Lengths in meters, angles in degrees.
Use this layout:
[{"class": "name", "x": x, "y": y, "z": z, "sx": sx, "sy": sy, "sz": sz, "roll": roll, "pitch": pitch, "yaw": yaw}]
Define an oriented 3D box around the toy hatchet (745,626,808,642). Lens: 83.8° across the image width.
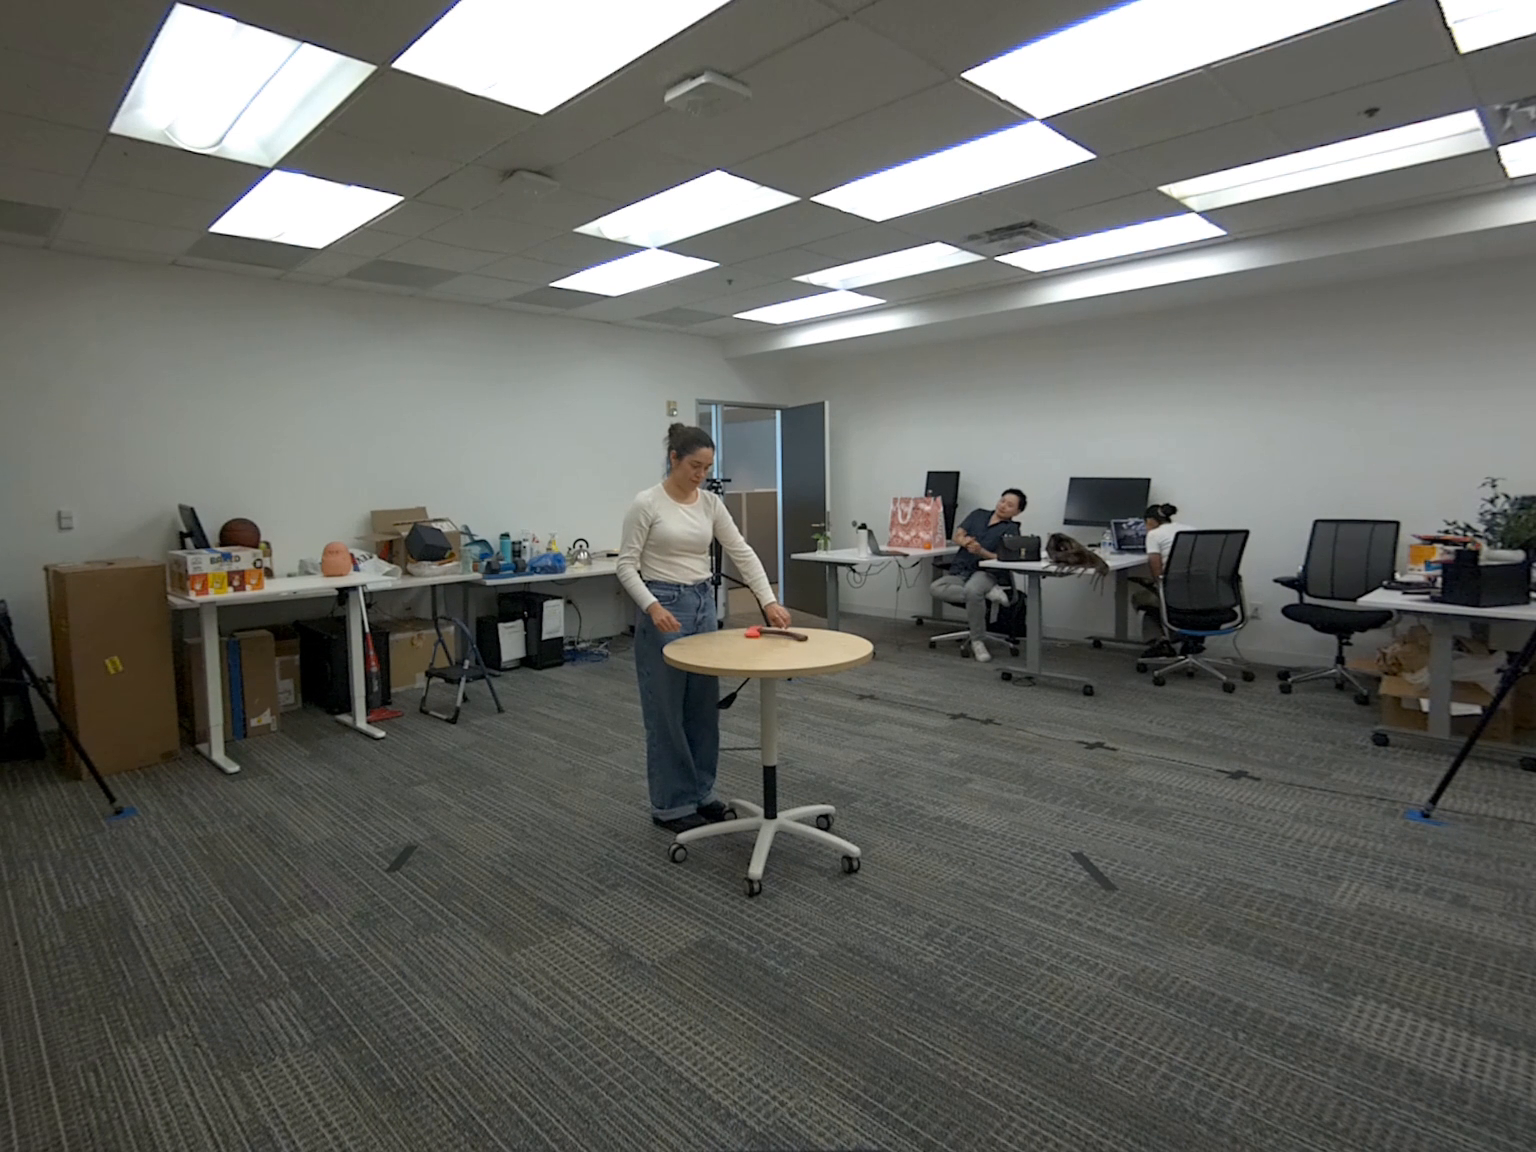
[{"class": "toy hatchet", "x": 0.018, "y": 0.226, "z": 3.270, "sx": 0.128, "sy": 0.029, "sz": 0.279, "roll": -9, "pitch": 12, "yaw": -39}]
